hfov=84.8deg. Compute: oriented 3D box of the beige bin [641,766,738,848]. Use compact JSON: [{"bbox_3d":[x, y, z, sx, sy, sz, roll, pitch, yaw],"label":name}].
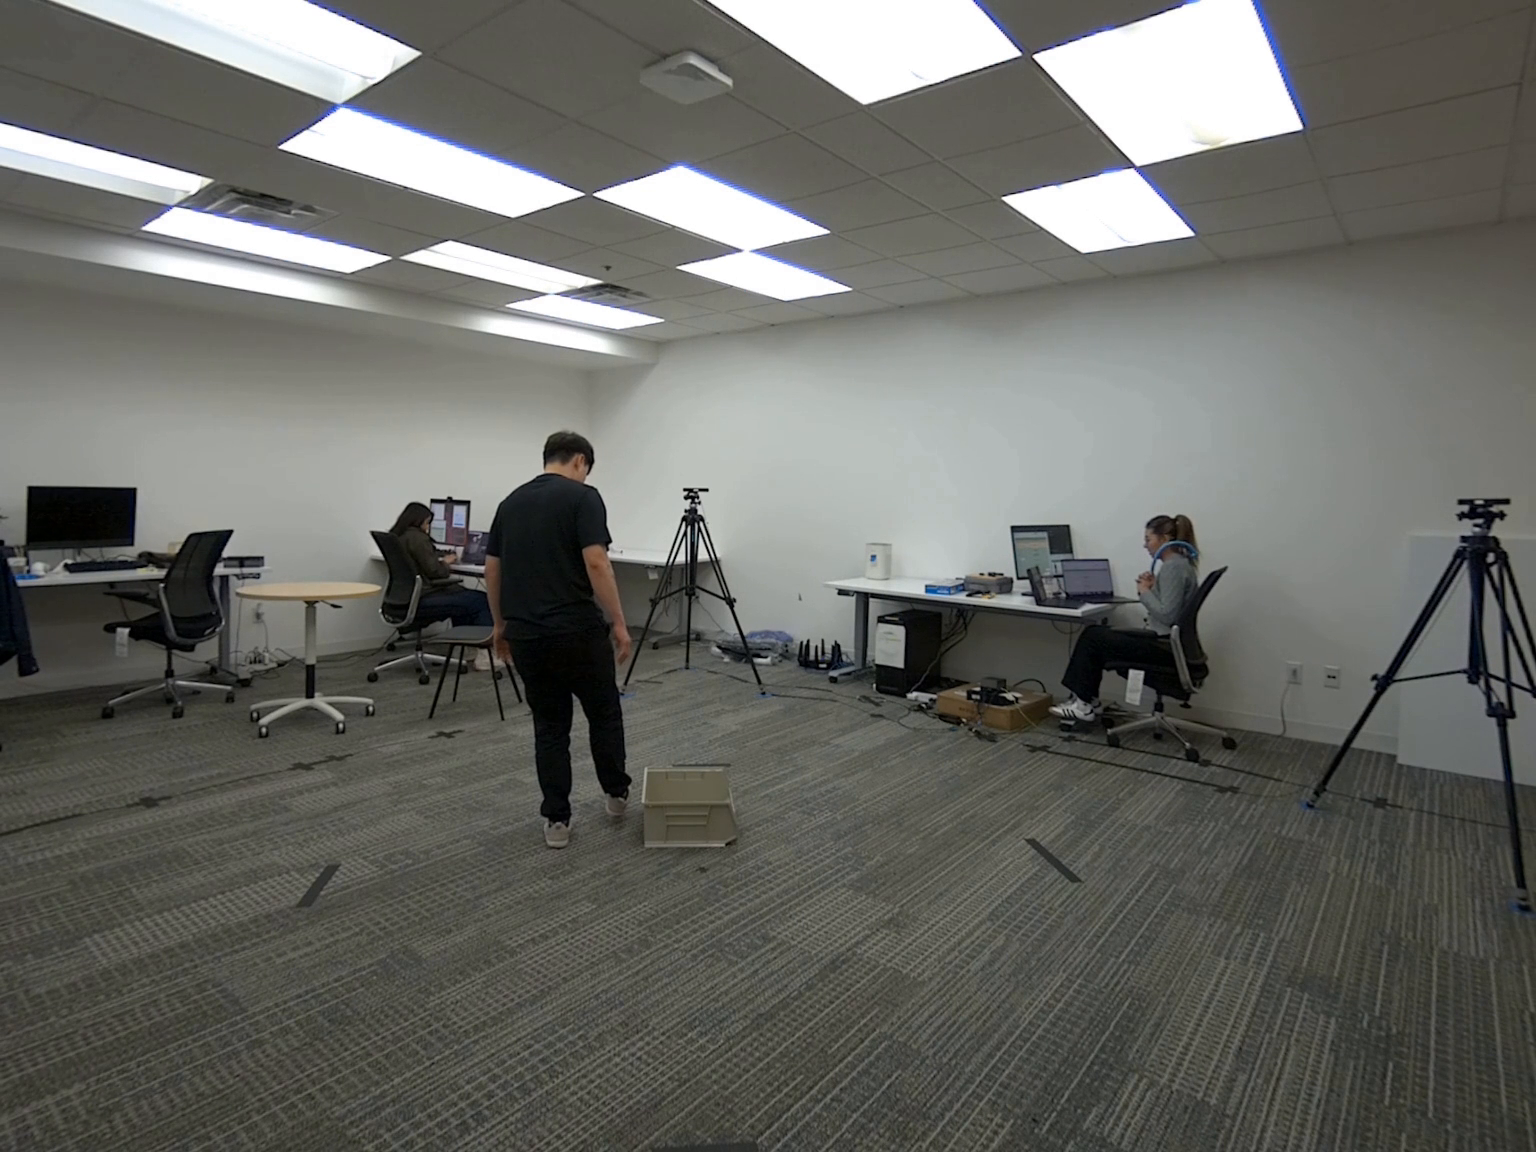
[{"bbox_3d":[-0.335,0.943,3.501,0.376,0.188,0.426,0,6,-5],"label":"beige bin"}]
